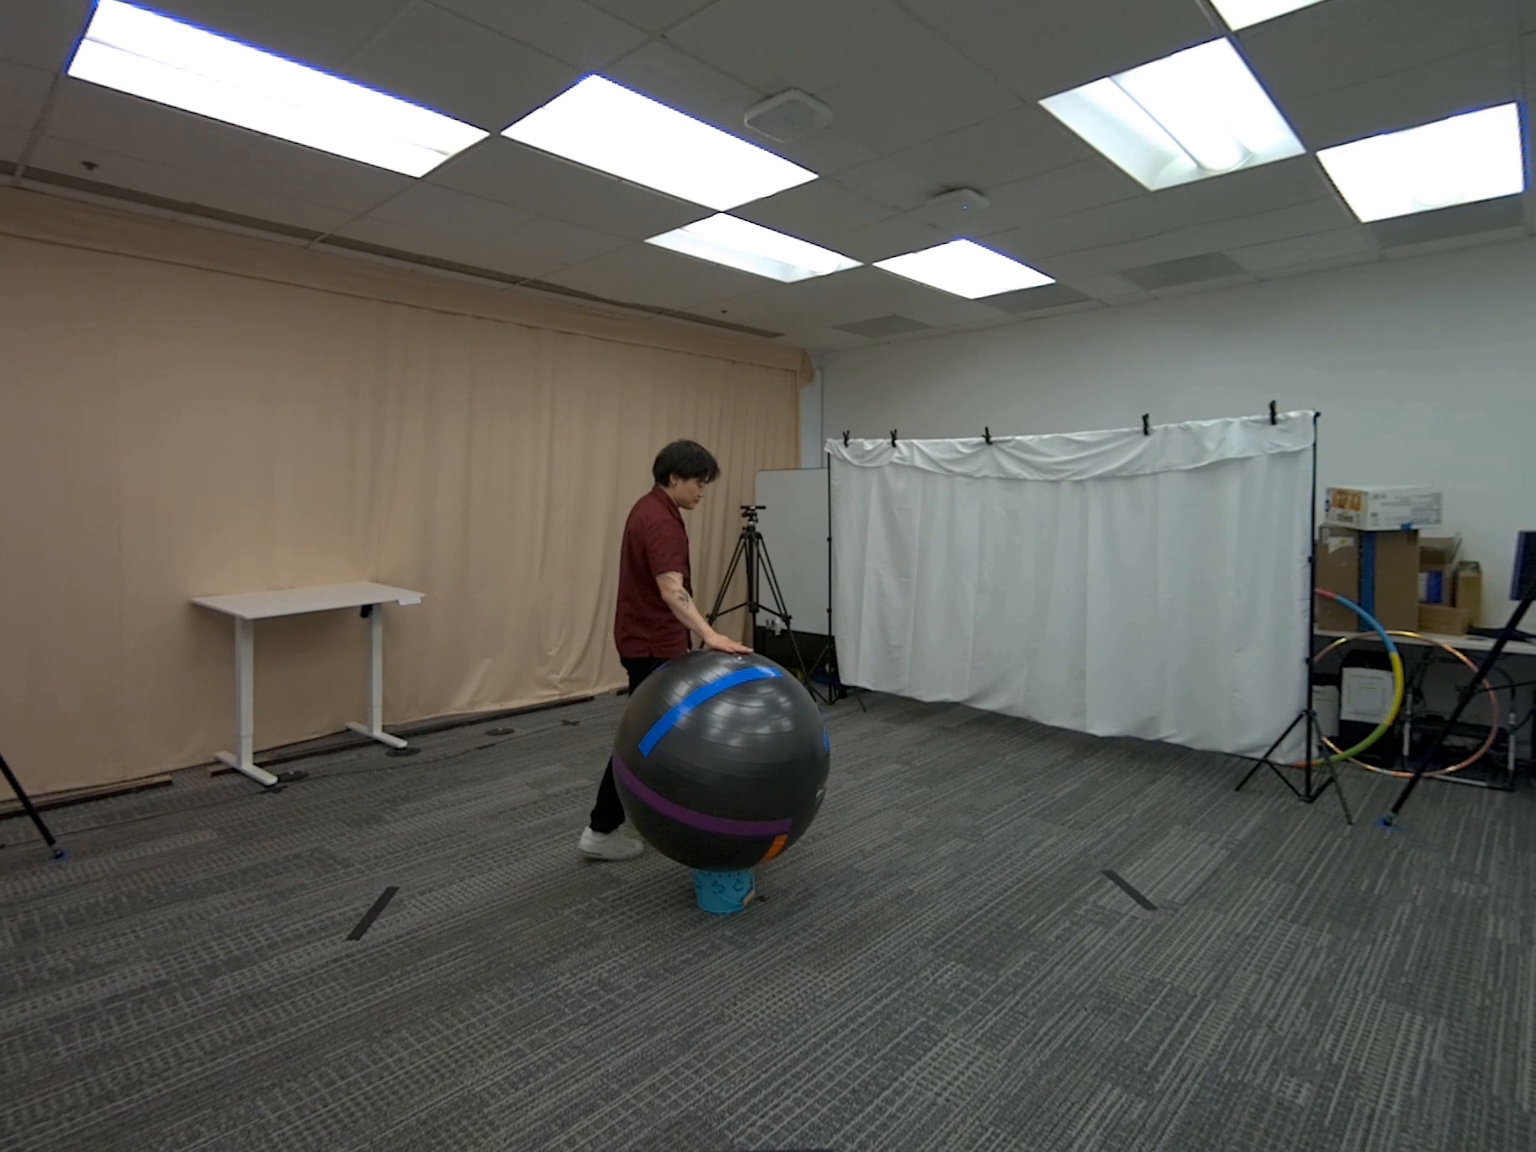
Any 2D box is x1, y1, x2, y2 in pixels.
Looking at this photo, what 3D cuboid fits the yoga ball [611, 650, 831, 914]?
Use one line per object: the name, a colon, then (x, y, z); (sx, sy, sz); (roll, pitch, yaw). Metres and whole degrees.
yoga ball: (-0.158, 0.634, 2.949); (0.757, 0.756, 0.760); (0, 4, -2)
